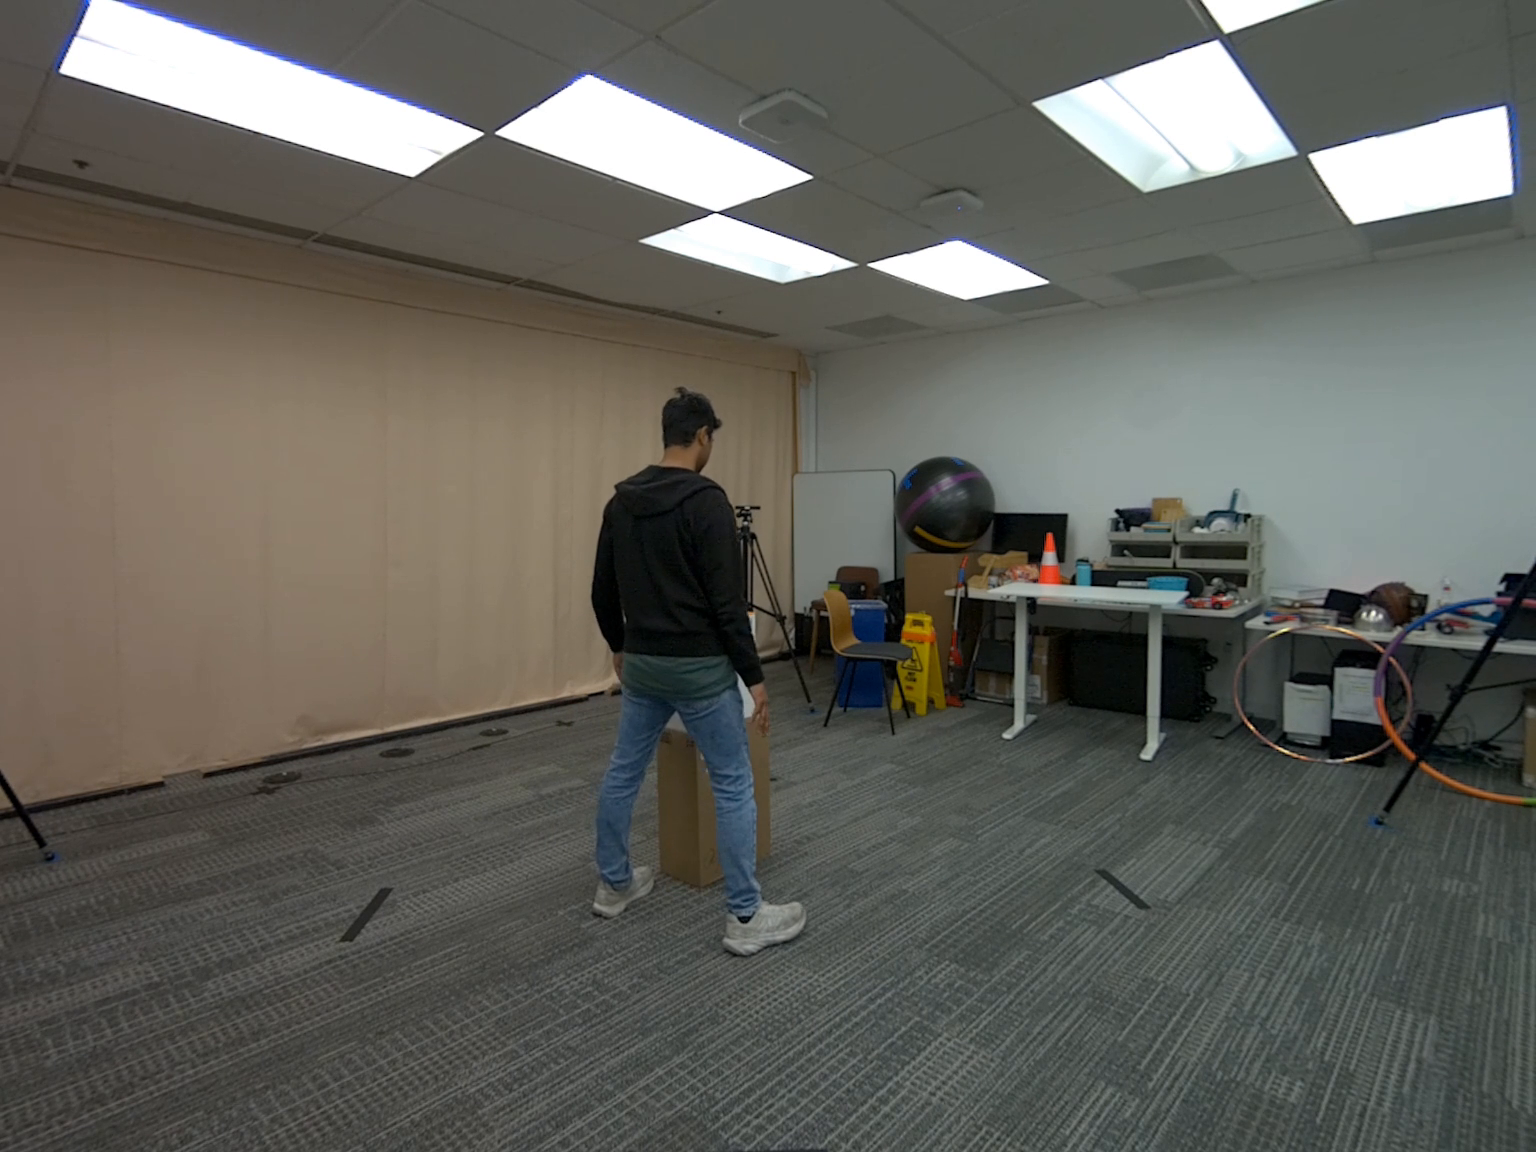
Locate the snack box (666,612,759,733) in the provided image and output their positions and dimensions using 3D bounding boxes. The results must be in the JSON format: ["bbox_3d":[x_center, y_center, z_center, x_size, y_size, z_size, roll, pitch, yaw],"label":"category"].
[{"bbox_3d":[-0.224,0.355,3.234,0.212,0.404,0.330,0,3,40],"label":"snack box"}]
